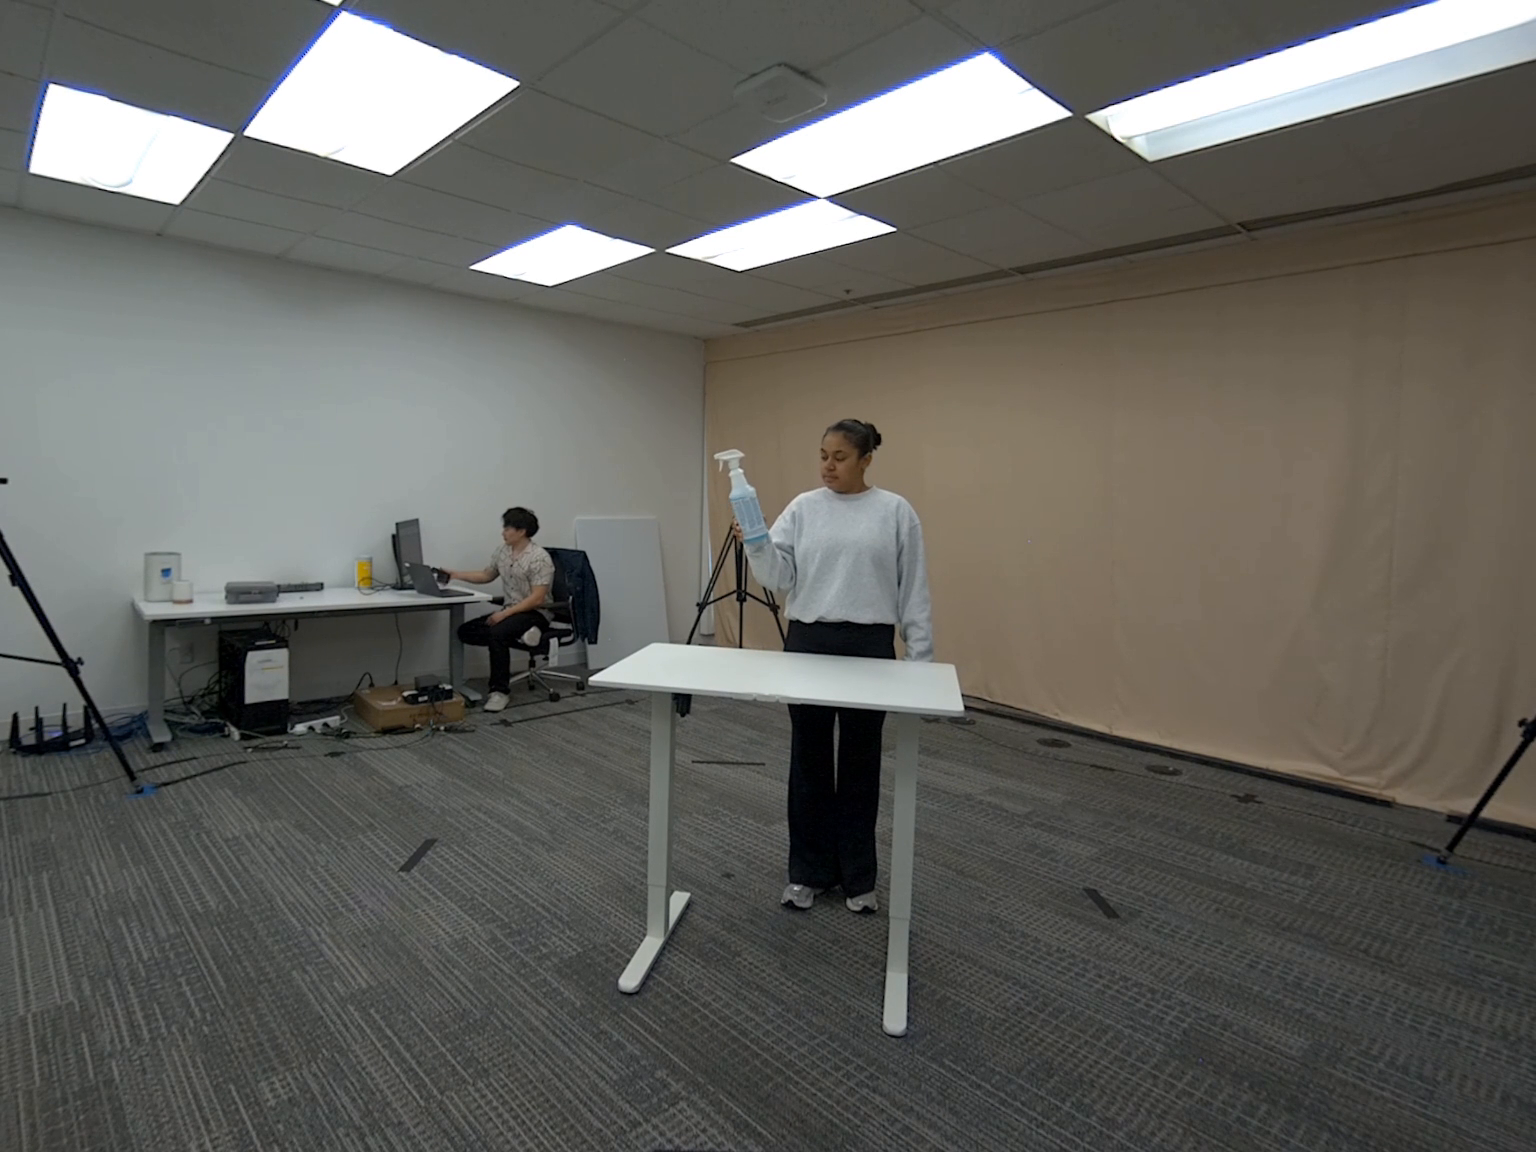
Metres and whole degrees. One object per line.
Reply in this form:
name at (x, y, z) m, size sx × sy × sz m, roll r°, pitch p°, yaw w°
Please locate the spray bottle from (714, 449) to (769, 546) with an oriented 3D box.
spray bottle at (-0.084, -0.249, 2.645) m, size 0.091 × 0.294 × 0.087 m, roll -13°, pitch 12°, yaw 16°
